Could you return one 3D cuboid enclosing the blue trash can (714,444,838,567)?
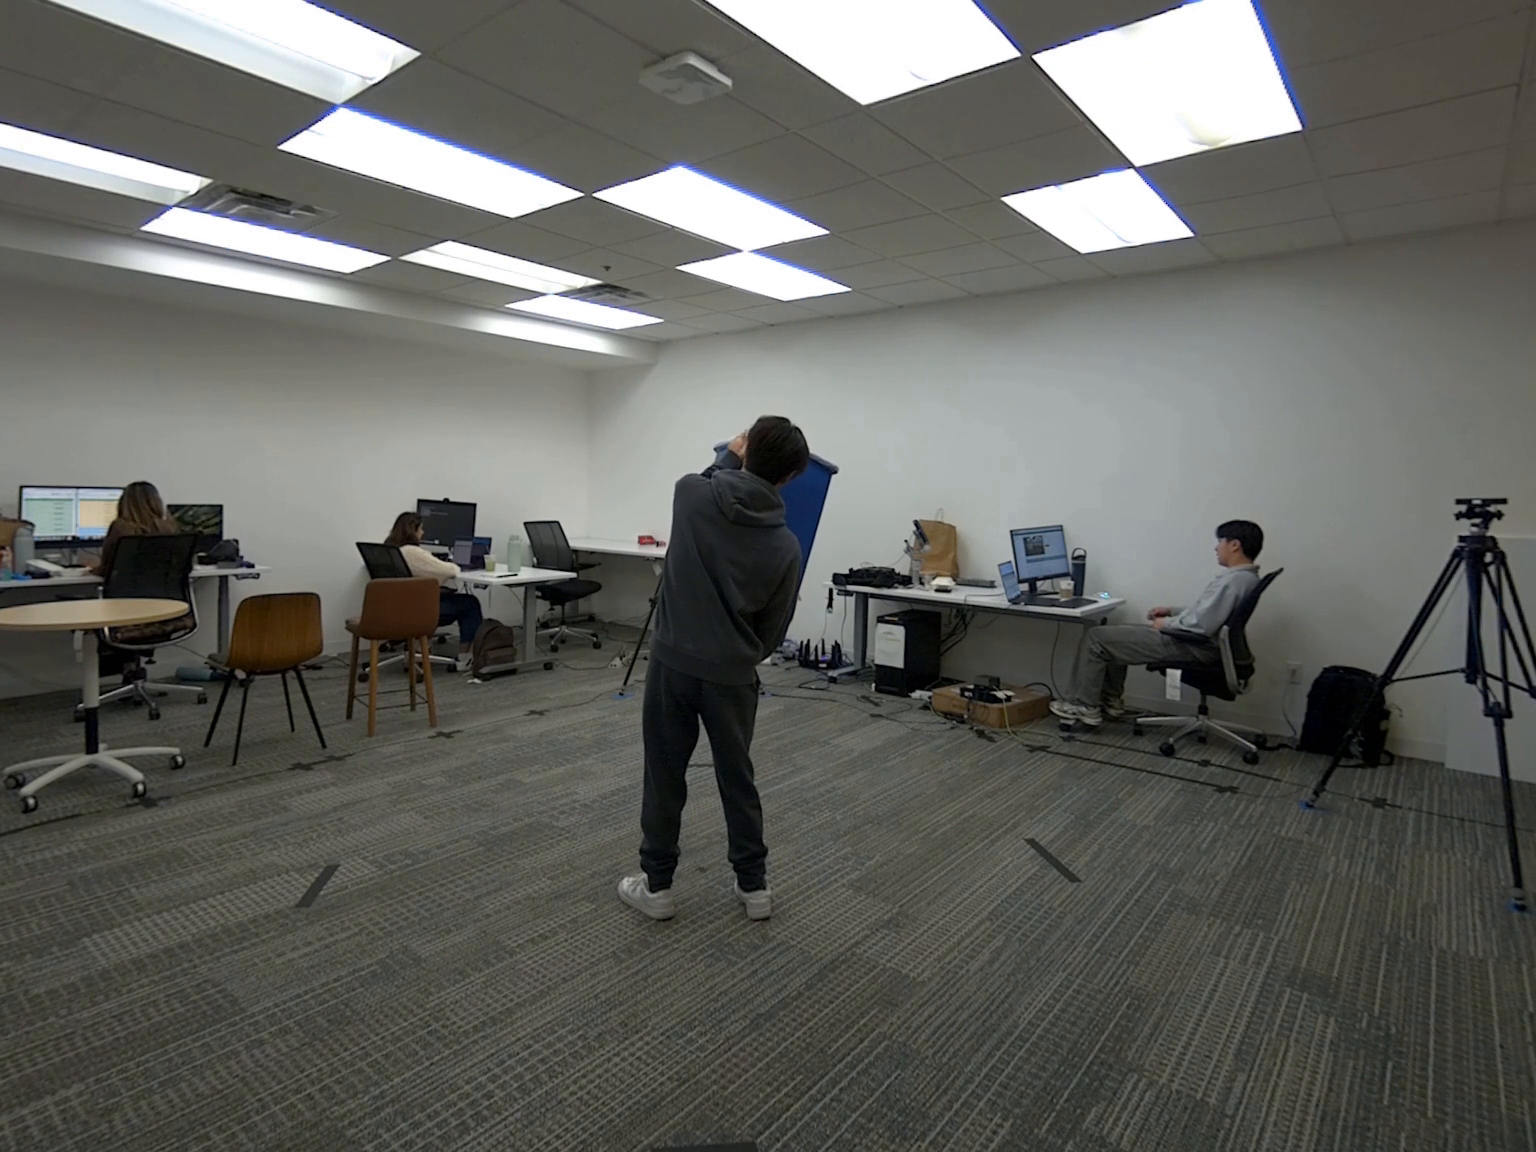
[{"bbox_3d":[-0.066,-0.130,3.163,0.365,0.720,0.383,24,-17,-31],"label":"blue trash can"}]
